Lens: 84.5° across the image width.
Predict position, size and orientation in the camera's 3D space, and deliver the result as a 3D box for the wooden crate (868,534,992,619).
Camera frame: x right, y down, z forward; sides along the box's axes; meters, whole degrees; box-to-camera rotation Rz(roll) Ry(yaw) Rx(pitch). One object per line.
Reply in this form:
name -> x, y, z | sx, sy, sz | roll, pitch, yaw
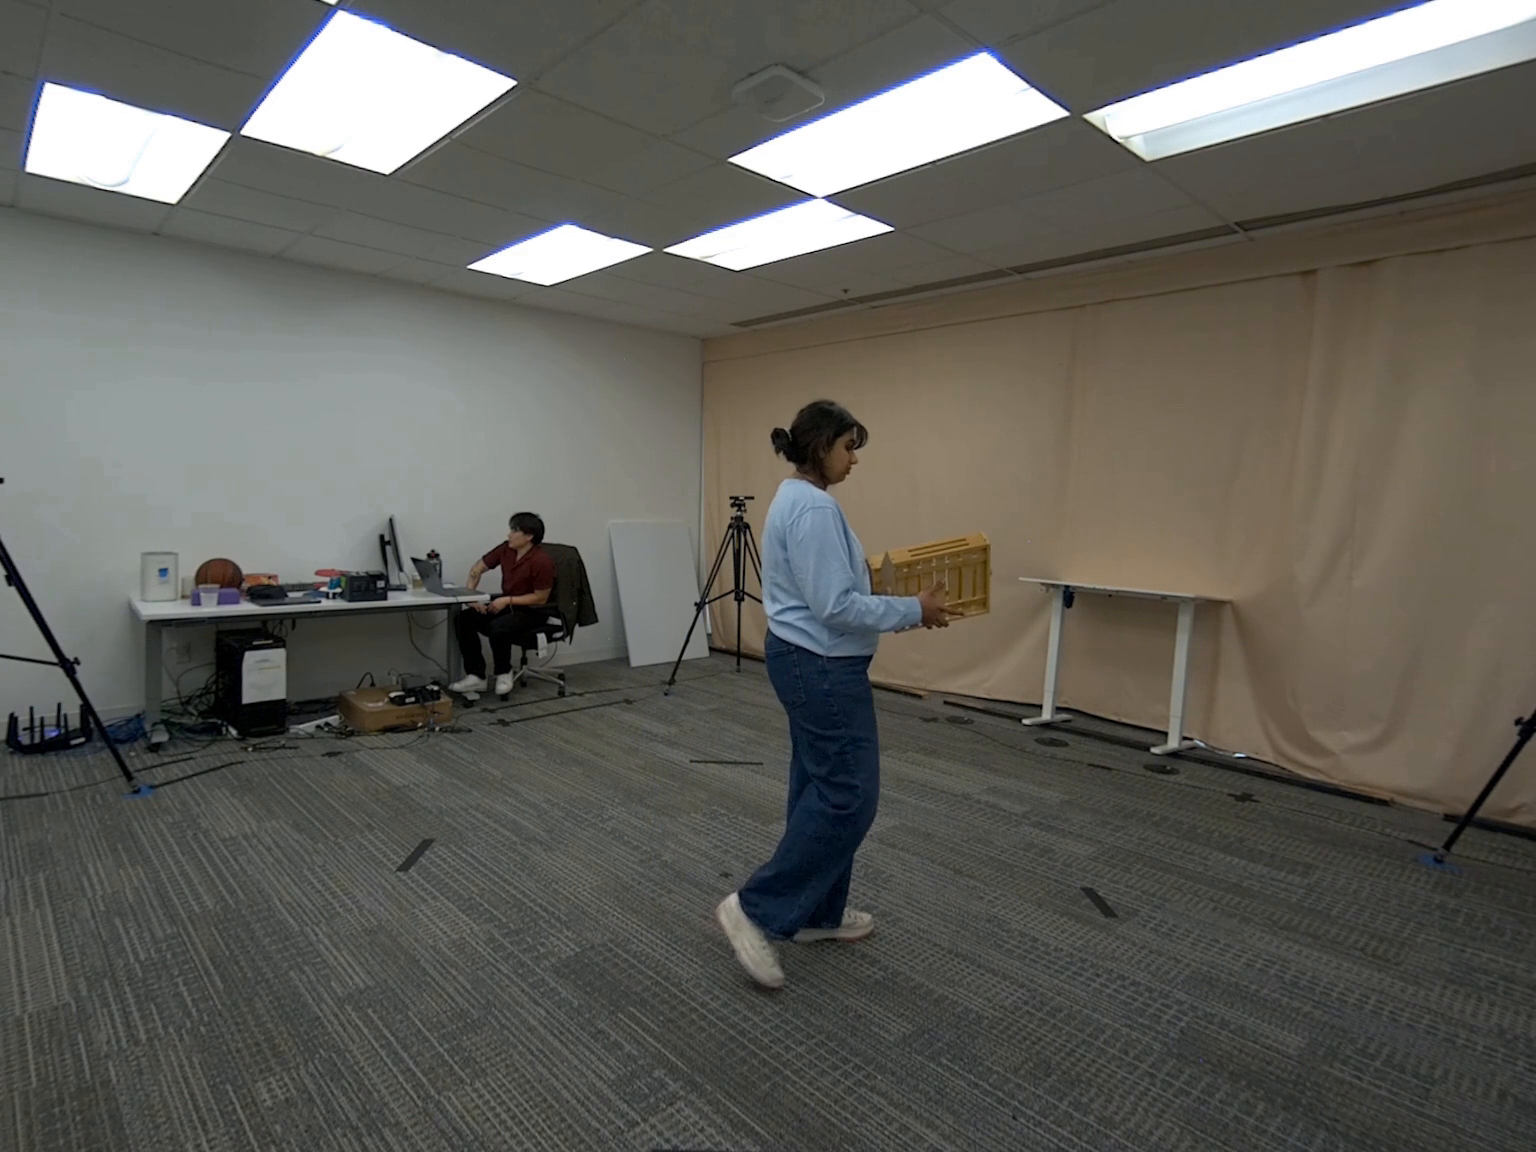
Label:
wooden crate -> 0.463, -0.004, 2.573 | 0.322, 0.296, 0.280 | -11, 25, -9
